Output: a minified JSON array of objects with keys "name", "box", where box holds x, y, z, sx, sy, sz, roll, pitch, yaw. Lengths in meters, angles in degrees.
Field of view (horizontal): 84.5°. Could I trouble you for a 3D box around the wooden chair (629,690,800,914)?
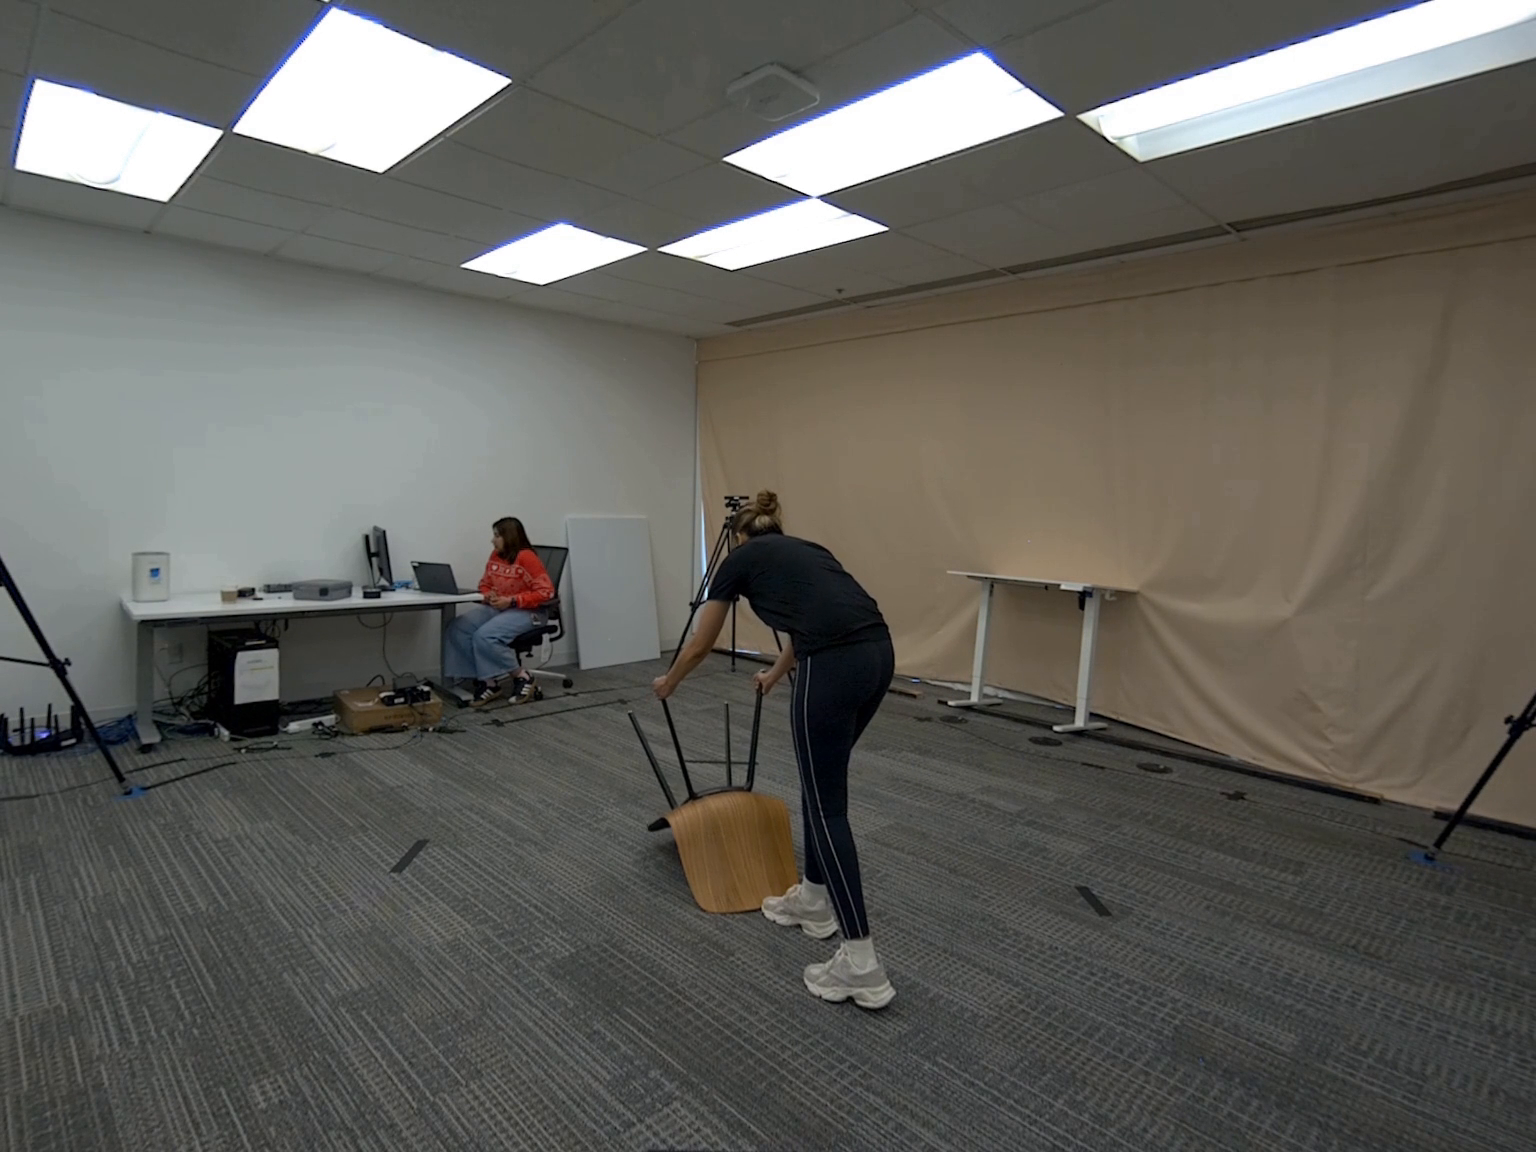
[{"name":"wooden chair","box":[-0.221,0.869,3.250,0.470,0.897,0.521,0,-30,-24]}]
